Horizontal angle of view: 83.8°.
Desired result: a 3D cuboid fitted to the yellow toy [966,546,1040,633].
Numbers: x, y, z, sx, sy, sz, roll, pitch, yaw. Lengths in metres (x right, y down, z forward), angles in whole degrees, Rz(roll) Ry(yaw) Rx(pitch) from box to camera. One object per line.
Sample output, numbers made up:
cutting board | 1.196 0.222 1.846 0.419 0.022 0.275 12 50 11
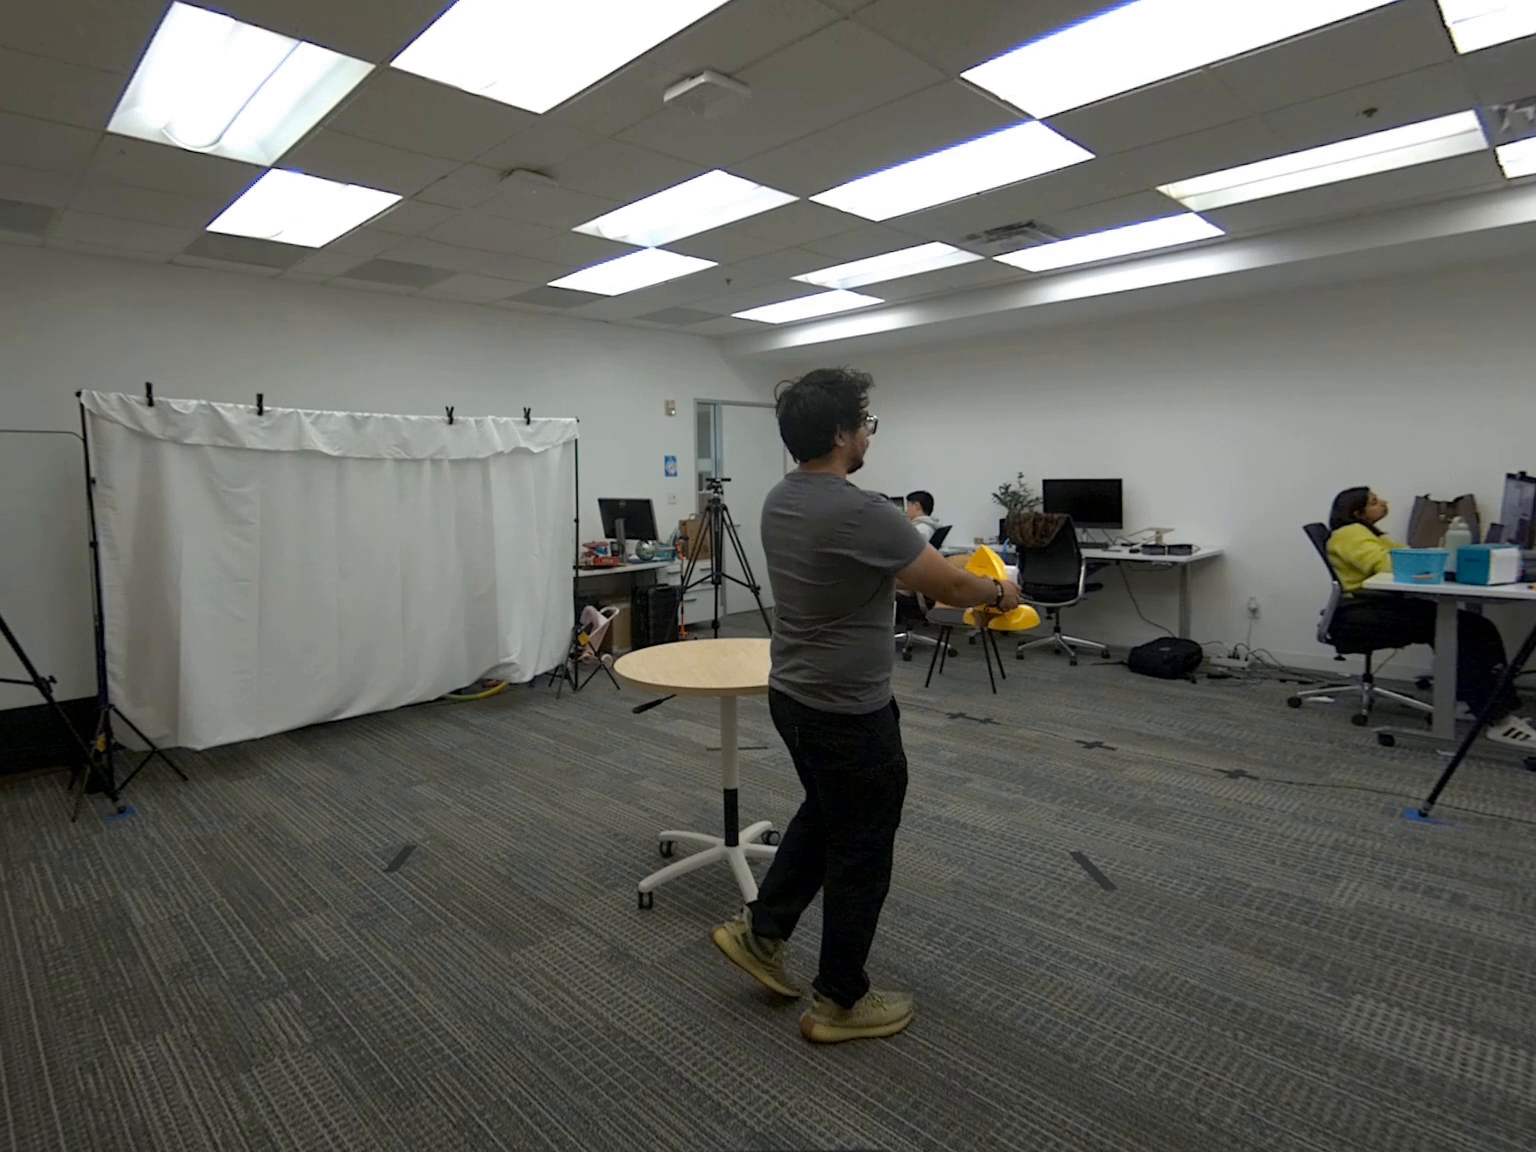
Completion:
yellow toy | 0.655 0.020 2.400 0.188 0.229 0.211 -8 9 -33
